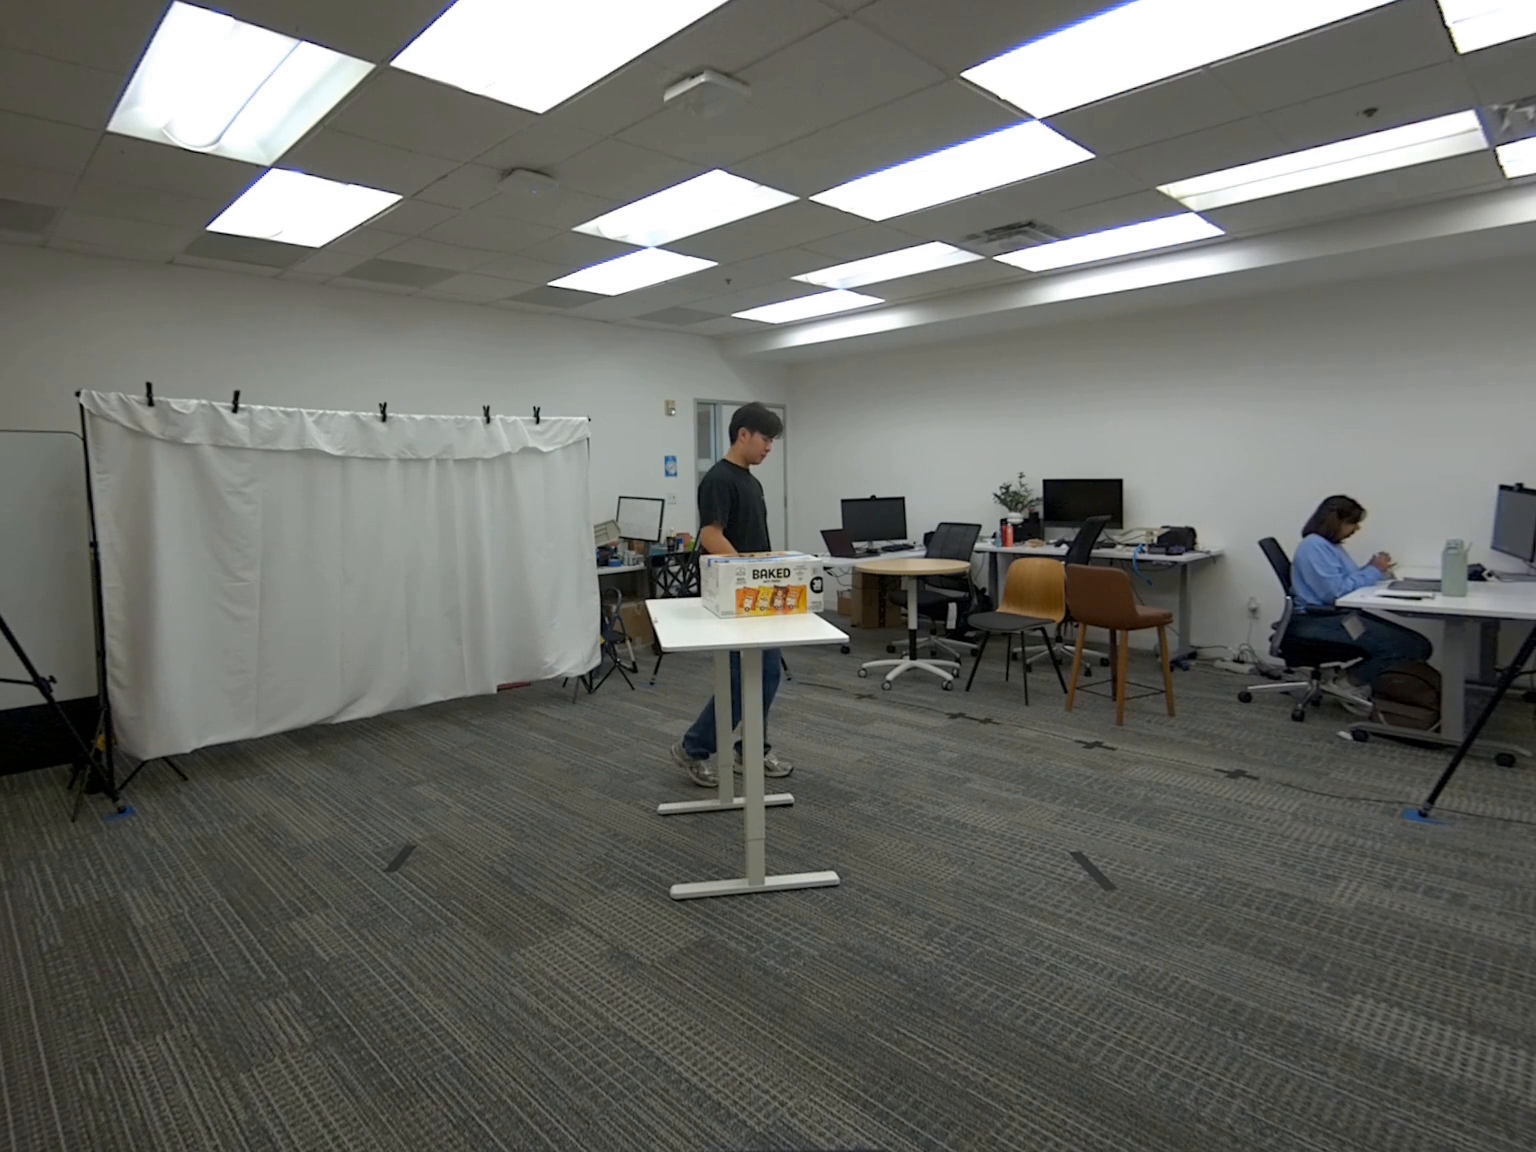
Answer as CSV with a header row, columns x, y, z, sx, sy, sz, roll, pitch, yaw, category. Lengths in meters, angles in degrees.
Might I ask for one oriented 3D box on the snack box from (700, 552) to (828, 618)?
x,y,z,sx,sy,sz,roll,pitch,yaw,category
-0.034,0.029,3.338,0.400,0.205,0.346,-3,6,-14,snack box
